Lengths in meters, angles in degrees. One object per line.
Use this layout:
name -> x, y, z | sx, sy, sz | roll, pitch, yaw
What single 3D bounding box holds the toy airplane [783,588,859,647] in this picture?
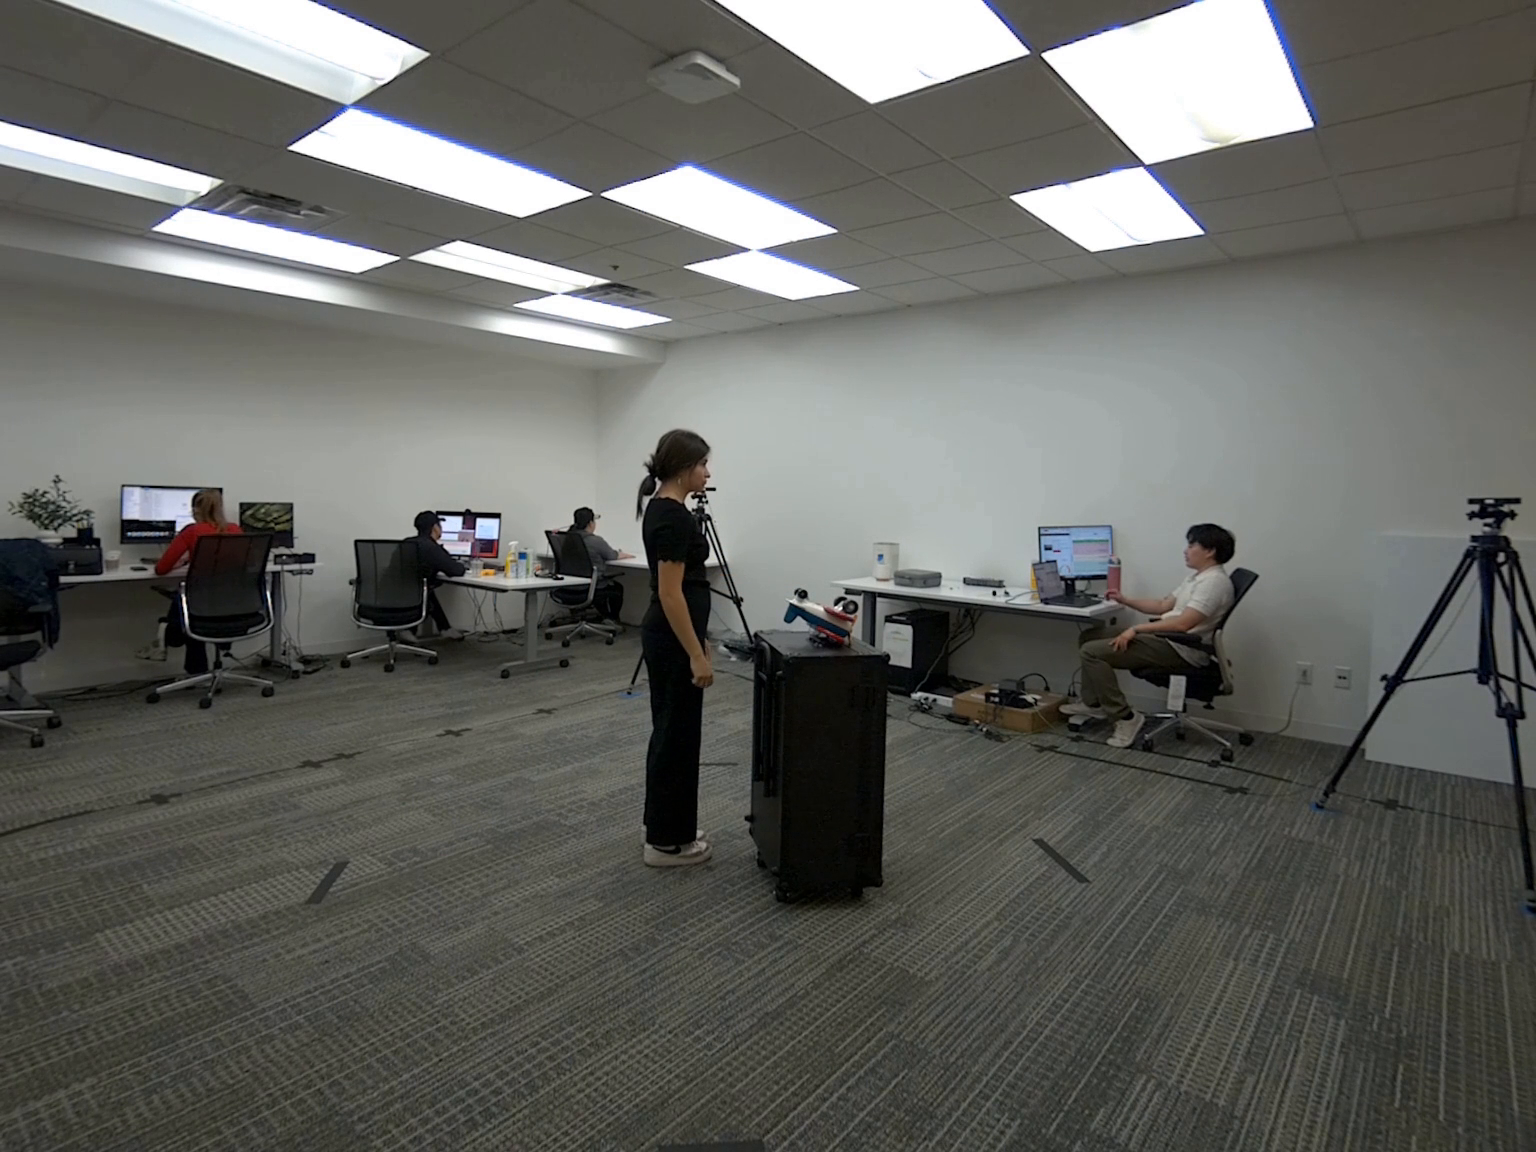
toy airplane -> 0.179, 0.135, 3.059 | 0.263, 0.156, 0.247 | 11, 2, 12
